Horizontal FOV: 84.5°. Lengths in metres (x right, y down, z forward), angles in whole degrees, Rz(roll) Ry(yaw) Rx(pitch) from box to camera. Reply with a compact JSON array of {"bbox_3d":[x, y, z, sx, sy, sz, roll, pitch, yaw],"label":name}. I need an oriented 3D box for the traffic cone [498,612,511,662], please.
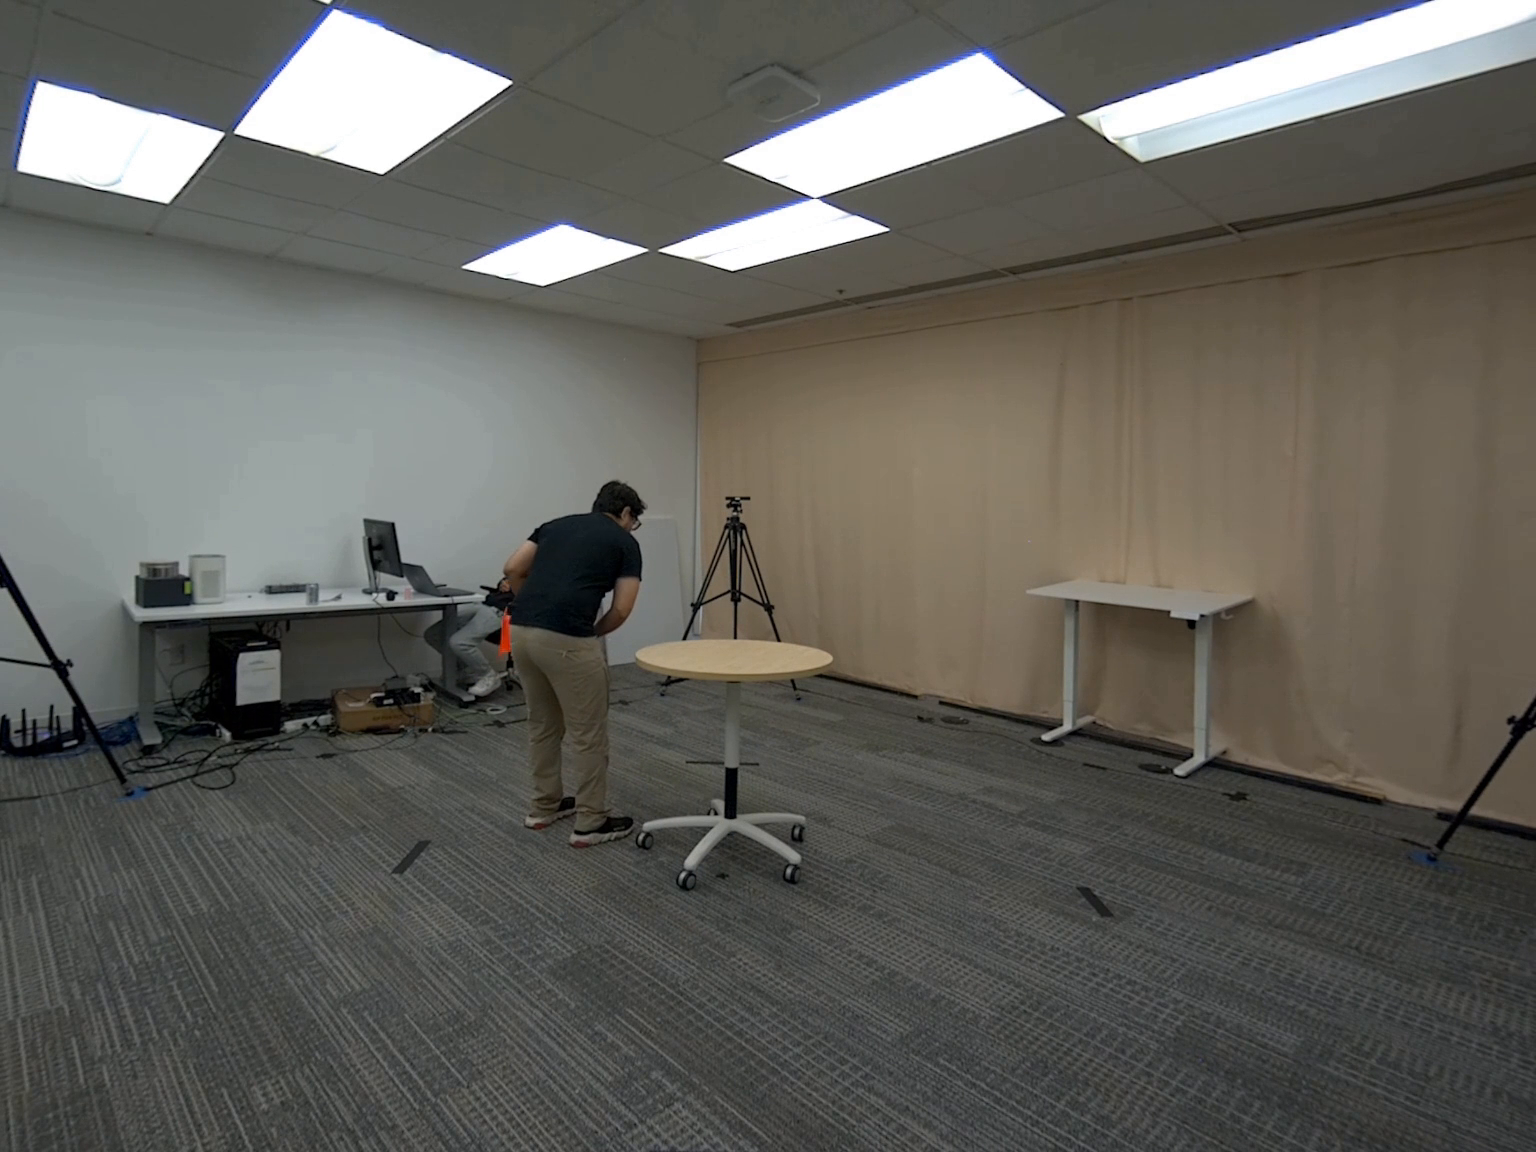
[{"bbox_3d":[-0.960,0.266,3.628,0.381,0.203,0.206,5,11,-8],"label":"traffic cone"}]
